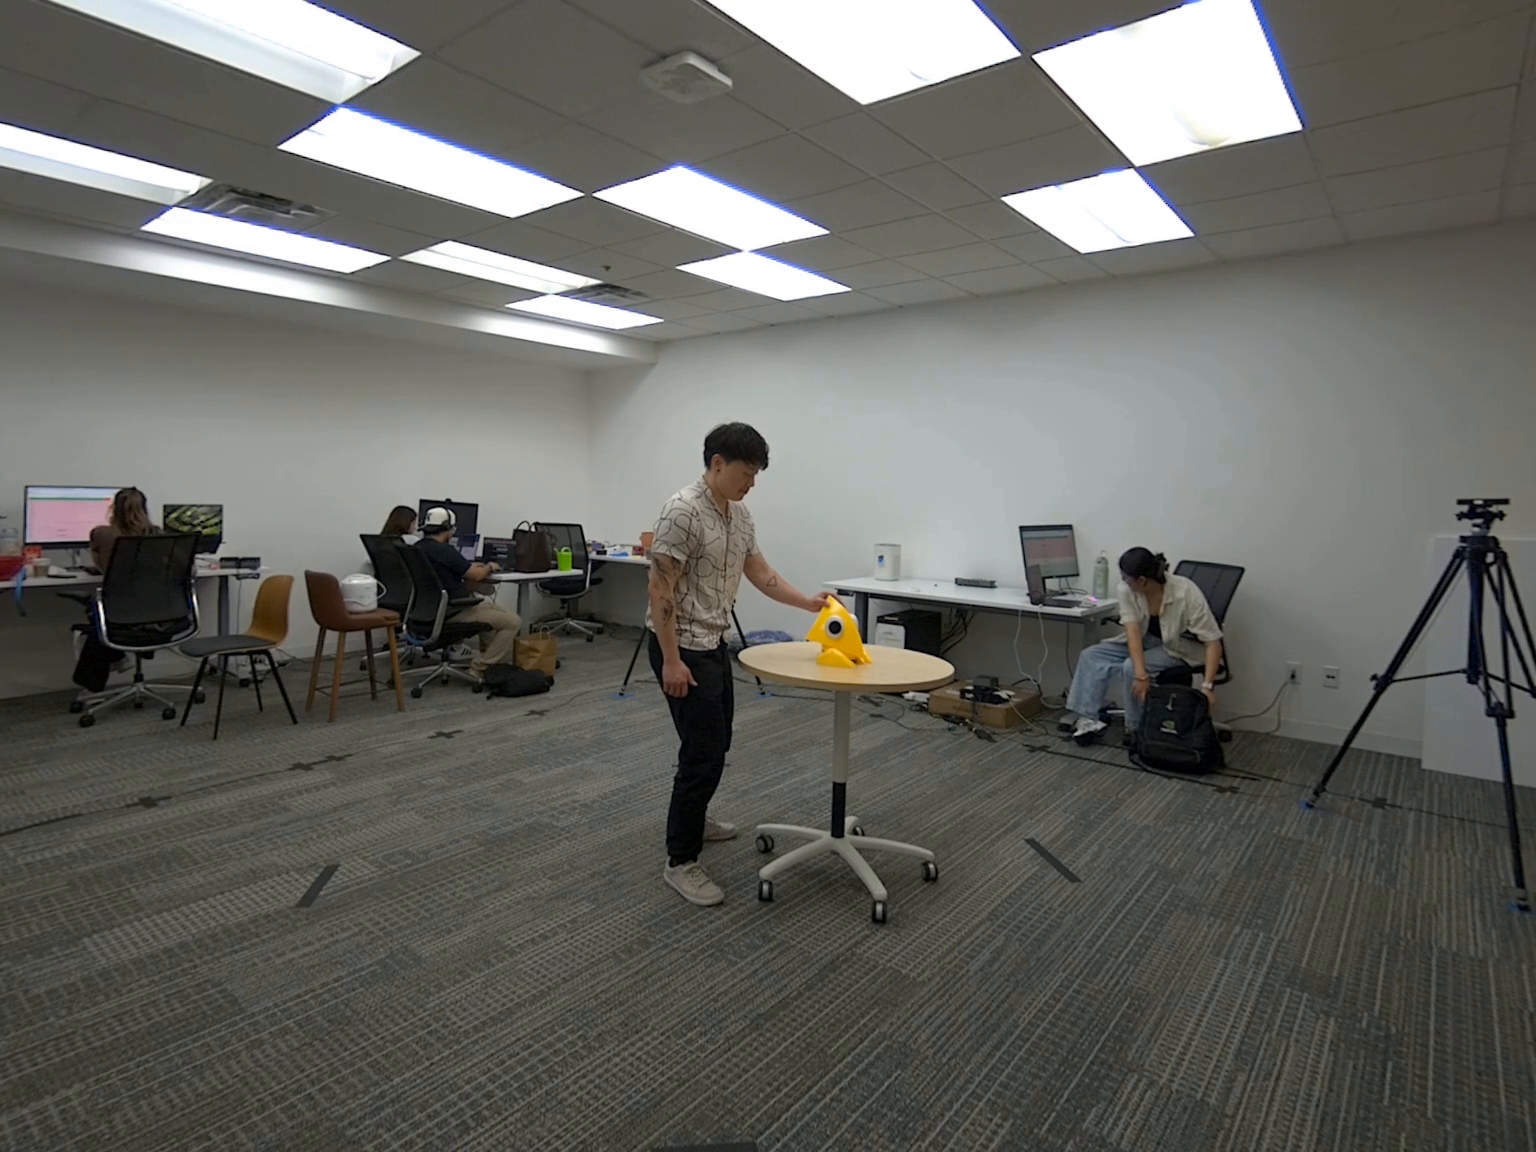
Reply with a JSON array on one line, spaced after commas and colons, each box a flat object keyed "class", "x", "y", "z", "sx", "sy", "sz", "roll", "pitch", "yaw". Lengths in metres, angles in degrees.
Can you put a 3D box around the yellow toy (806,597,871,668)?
[{"class": "yellow toy", "x": 0.258, "y": 0.192, "z": 3.033, "sx": 0.199, "sy": 0.230, "sz": 0.198, "roll": 4, "pitch": 4, "yaw": 40}]
